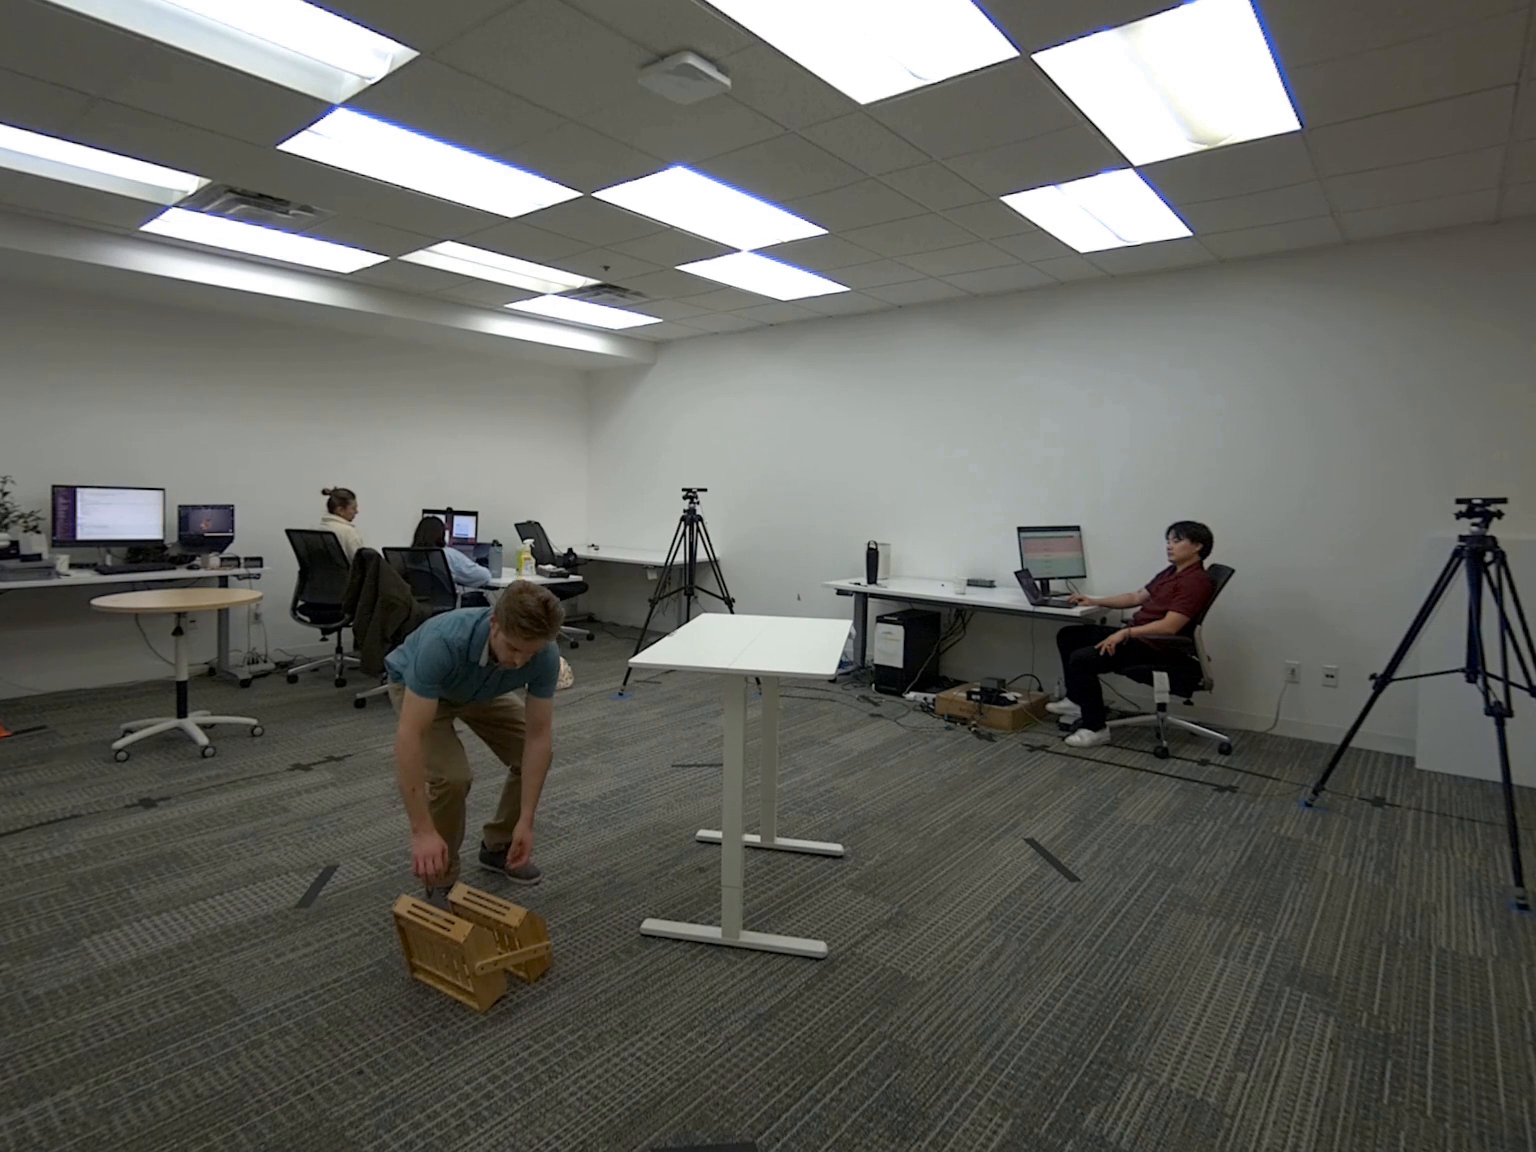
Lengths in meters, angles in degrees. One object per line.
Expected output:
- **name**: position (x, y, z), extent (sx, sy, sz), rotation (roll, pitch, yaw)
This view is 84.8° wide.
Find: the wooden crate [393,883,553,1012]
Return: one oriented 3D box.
- **wooden crate**: position (-0.835, 0.997, 2.396), extent (0.334, 0.296, 0.271), rotation (2, 21, 30)
